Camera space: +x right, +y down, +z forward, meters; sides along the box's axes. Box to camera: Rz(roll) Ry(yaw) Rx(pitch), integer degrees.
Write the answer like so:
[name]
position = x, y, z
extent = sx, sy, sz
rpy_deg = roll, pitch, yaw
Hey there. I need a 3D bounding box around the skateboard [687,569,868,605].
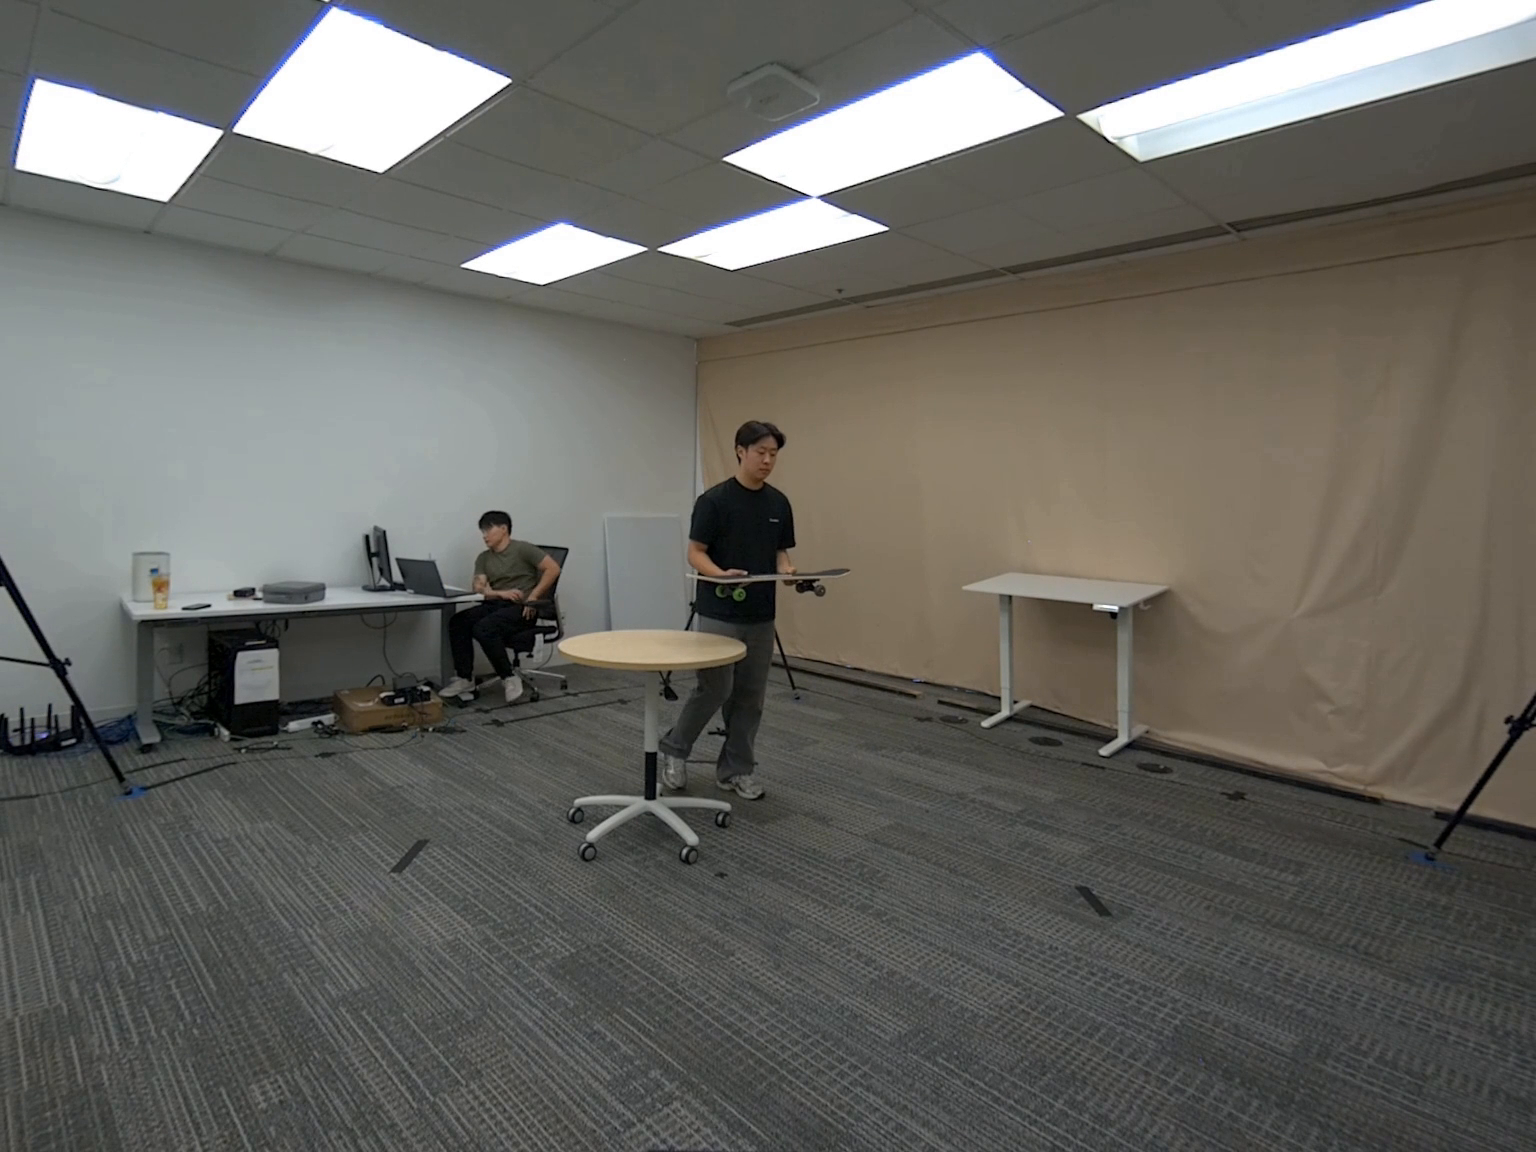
[skateboard]
position = 0.049, 0.045, 3.589
extent = 0.770, 0.110, 0.198
rpy_deg = -3, 5, -30
